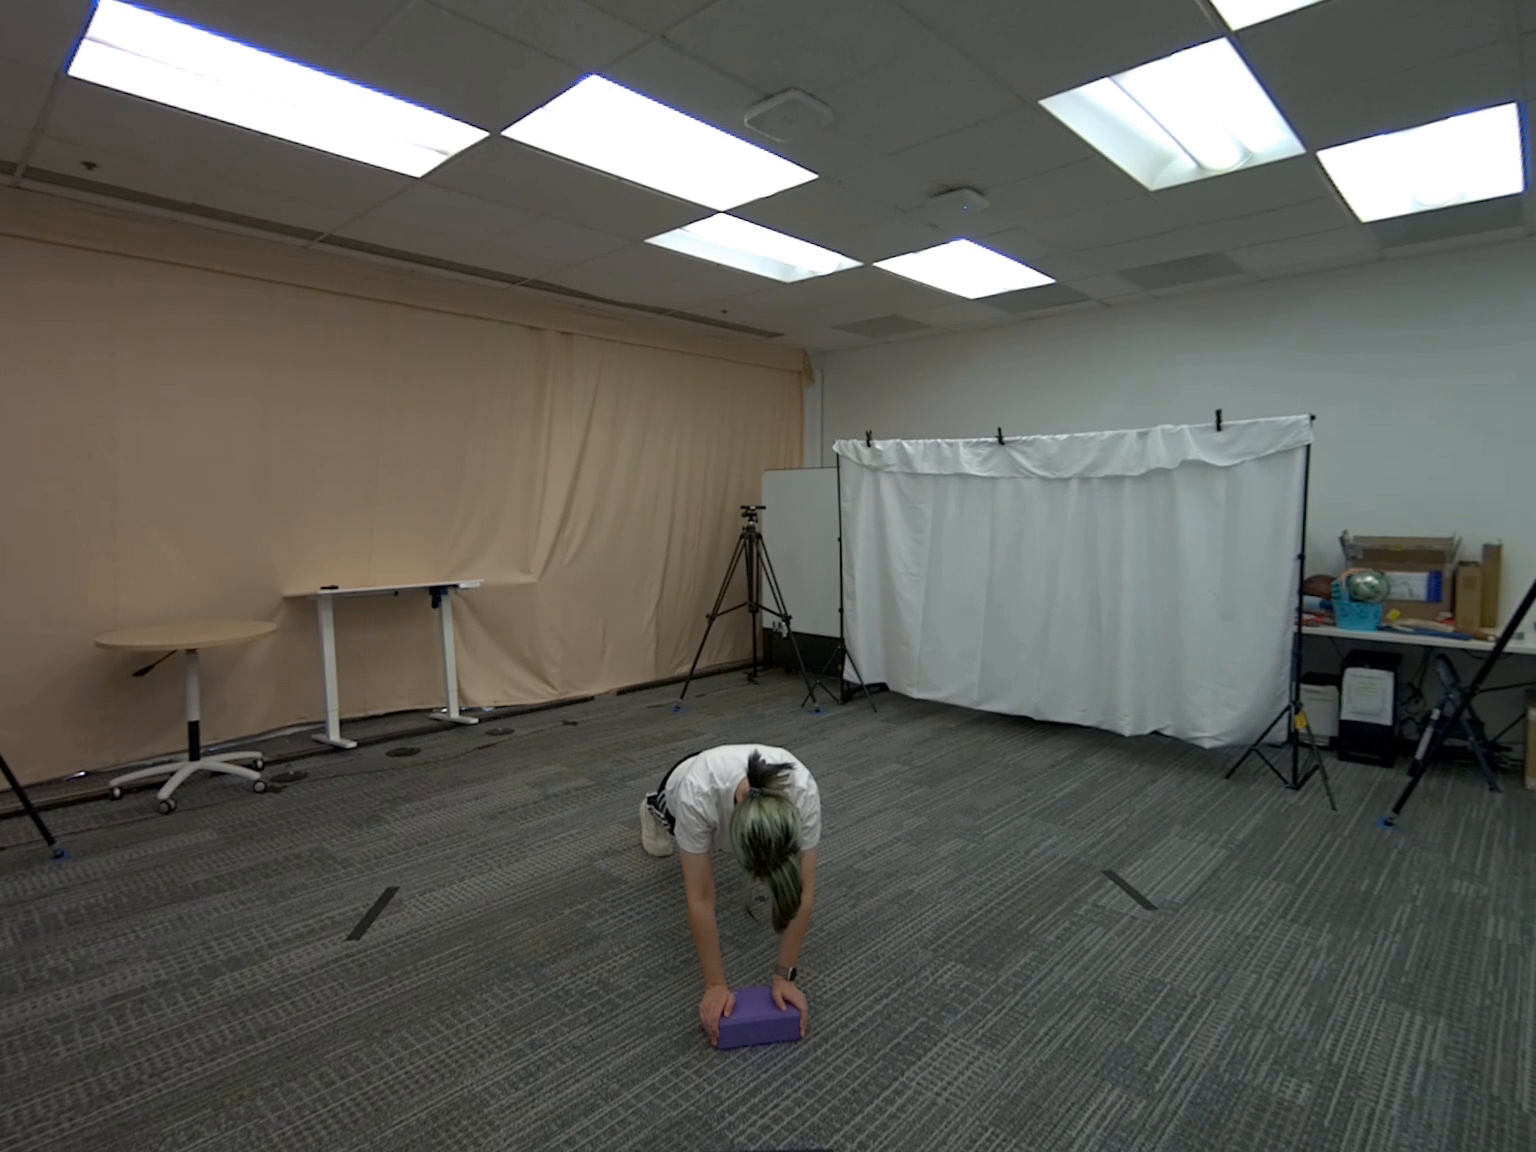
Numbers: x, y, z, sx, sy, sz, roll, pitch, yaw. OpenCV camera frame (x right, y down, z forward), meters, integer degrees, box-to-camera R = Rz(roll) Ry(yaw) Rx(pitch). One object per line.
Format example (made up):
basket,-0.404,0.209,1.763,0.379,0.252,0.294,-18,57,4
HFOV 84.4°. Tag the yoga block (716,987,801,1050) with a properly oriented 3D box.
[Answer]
yoga block,-0.041,1.168,2.244,0.227,0.076,0.151,0,4,-10
